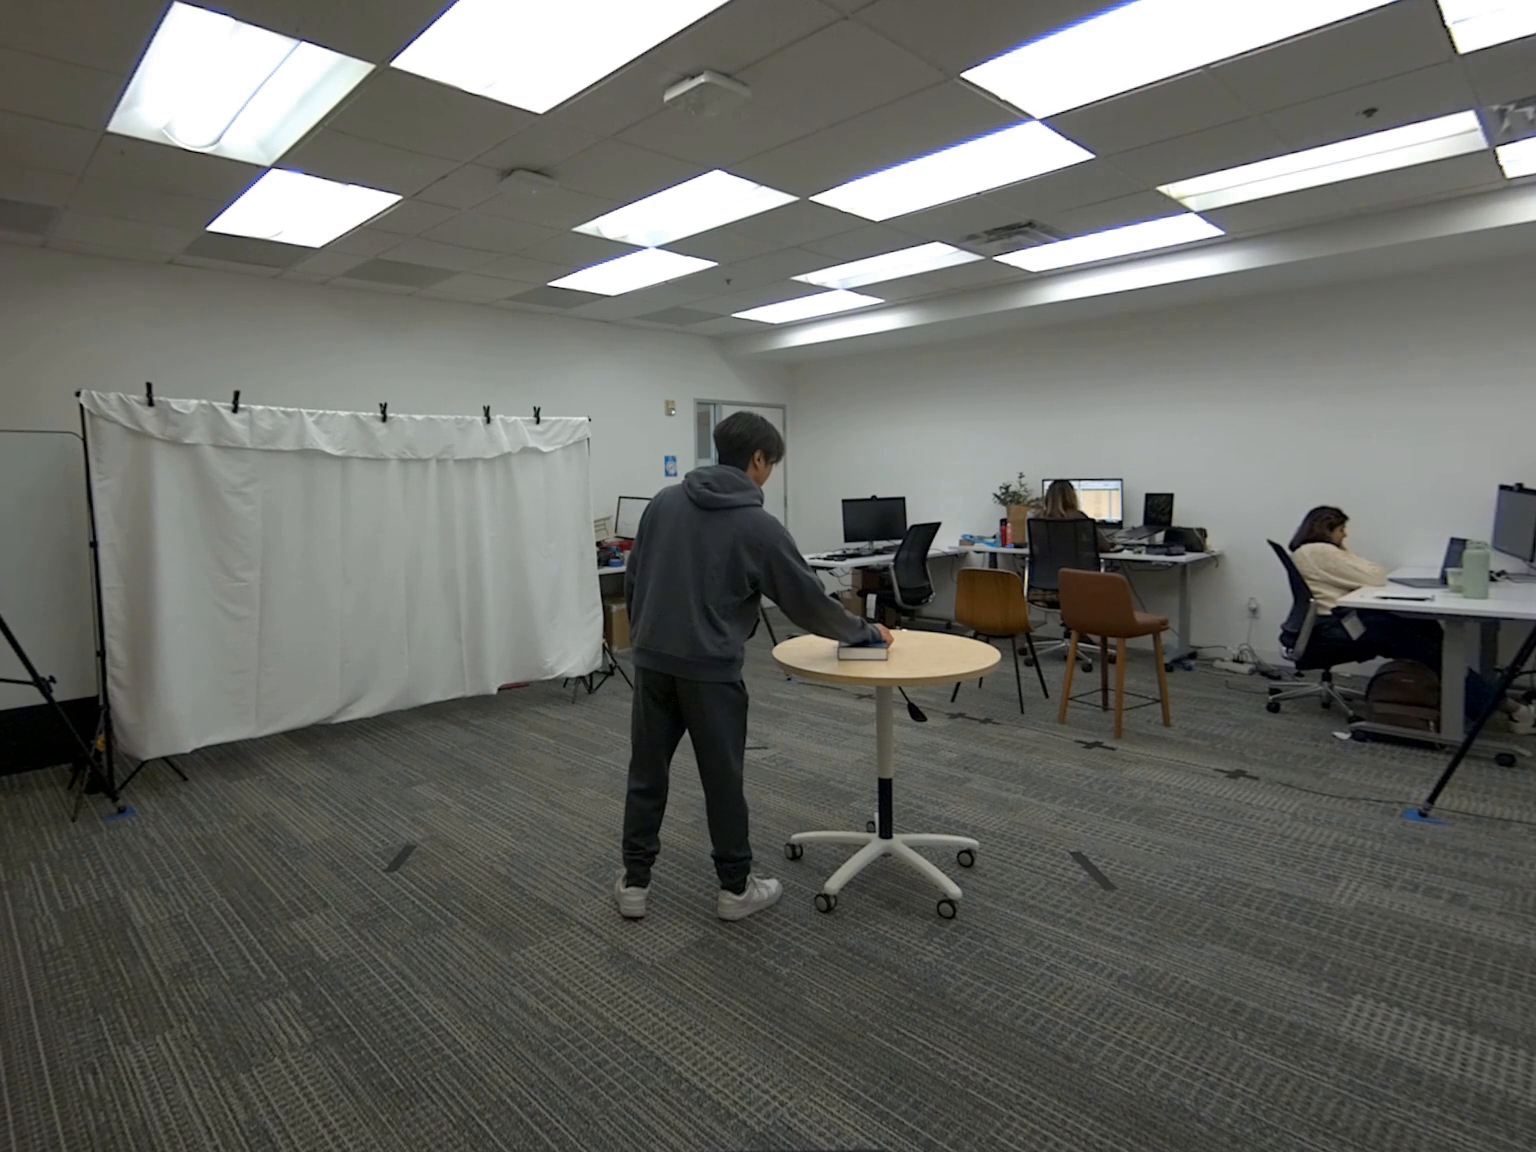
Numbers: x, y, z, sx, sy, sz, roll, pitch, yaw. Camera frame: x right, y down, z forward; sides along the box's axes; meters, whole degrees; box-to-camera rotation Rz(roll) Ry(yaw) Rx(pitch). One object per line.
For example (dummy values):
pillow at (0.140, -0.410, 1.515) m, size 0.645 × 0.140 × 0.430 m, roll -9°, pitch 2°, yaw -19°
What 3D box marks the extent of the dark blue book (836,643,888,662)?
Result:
dark blue book at (0.319, 0.241, 2.919) m, size 0.164 × 0.045 × 0.245 m, roll 0°, pitch 7°, yaw 6°
